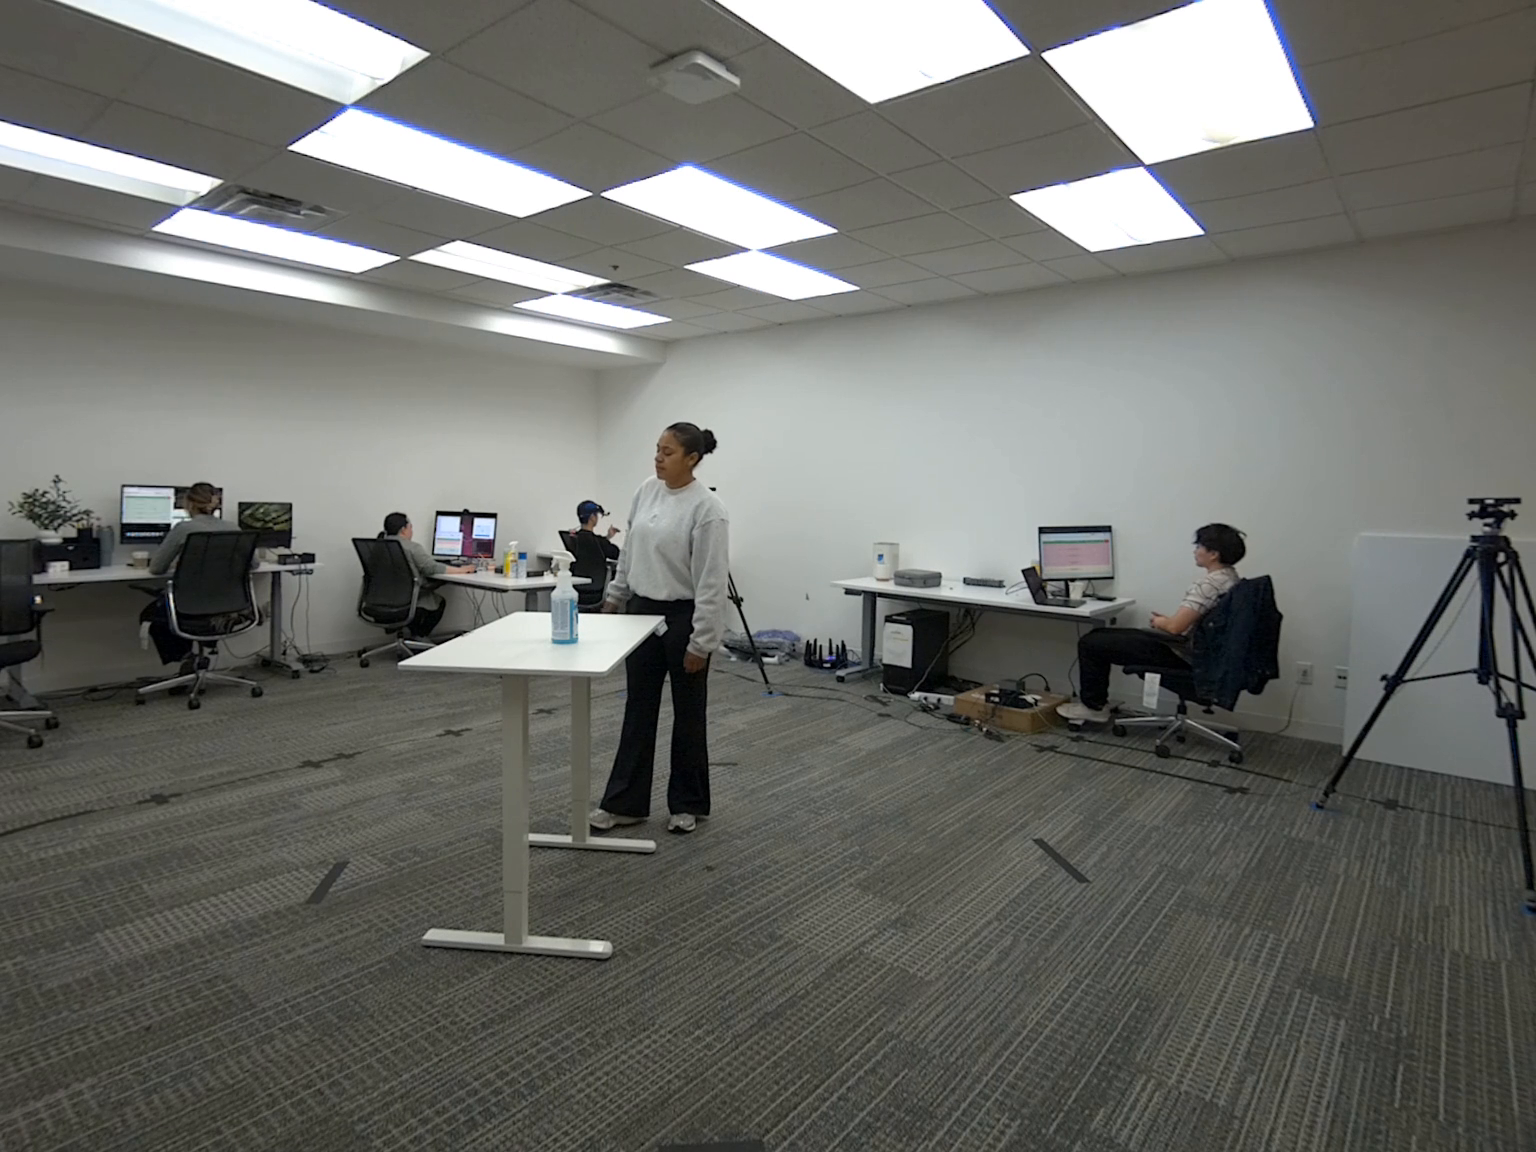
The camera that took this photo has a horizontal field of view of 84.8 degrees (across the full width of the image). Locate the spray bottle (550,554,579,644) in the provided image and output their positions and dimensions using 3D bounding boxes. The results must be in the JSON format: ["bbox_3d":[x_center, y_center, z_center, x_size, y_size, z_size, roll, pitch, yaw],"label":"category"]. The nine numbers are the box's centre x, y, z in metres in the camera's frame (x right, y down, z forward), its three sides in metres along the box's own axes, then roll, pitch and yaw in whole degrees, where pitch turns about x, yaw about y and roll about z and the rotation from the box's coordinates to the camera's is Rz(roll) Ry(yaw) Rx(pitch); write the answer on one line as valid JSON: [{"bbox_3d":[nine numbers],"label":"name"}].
[{"bbox_3d":[-0.681,0.065,2.752,0.084,0.296,0.093,-3,4,-44],"label":"spray bottle"}]
